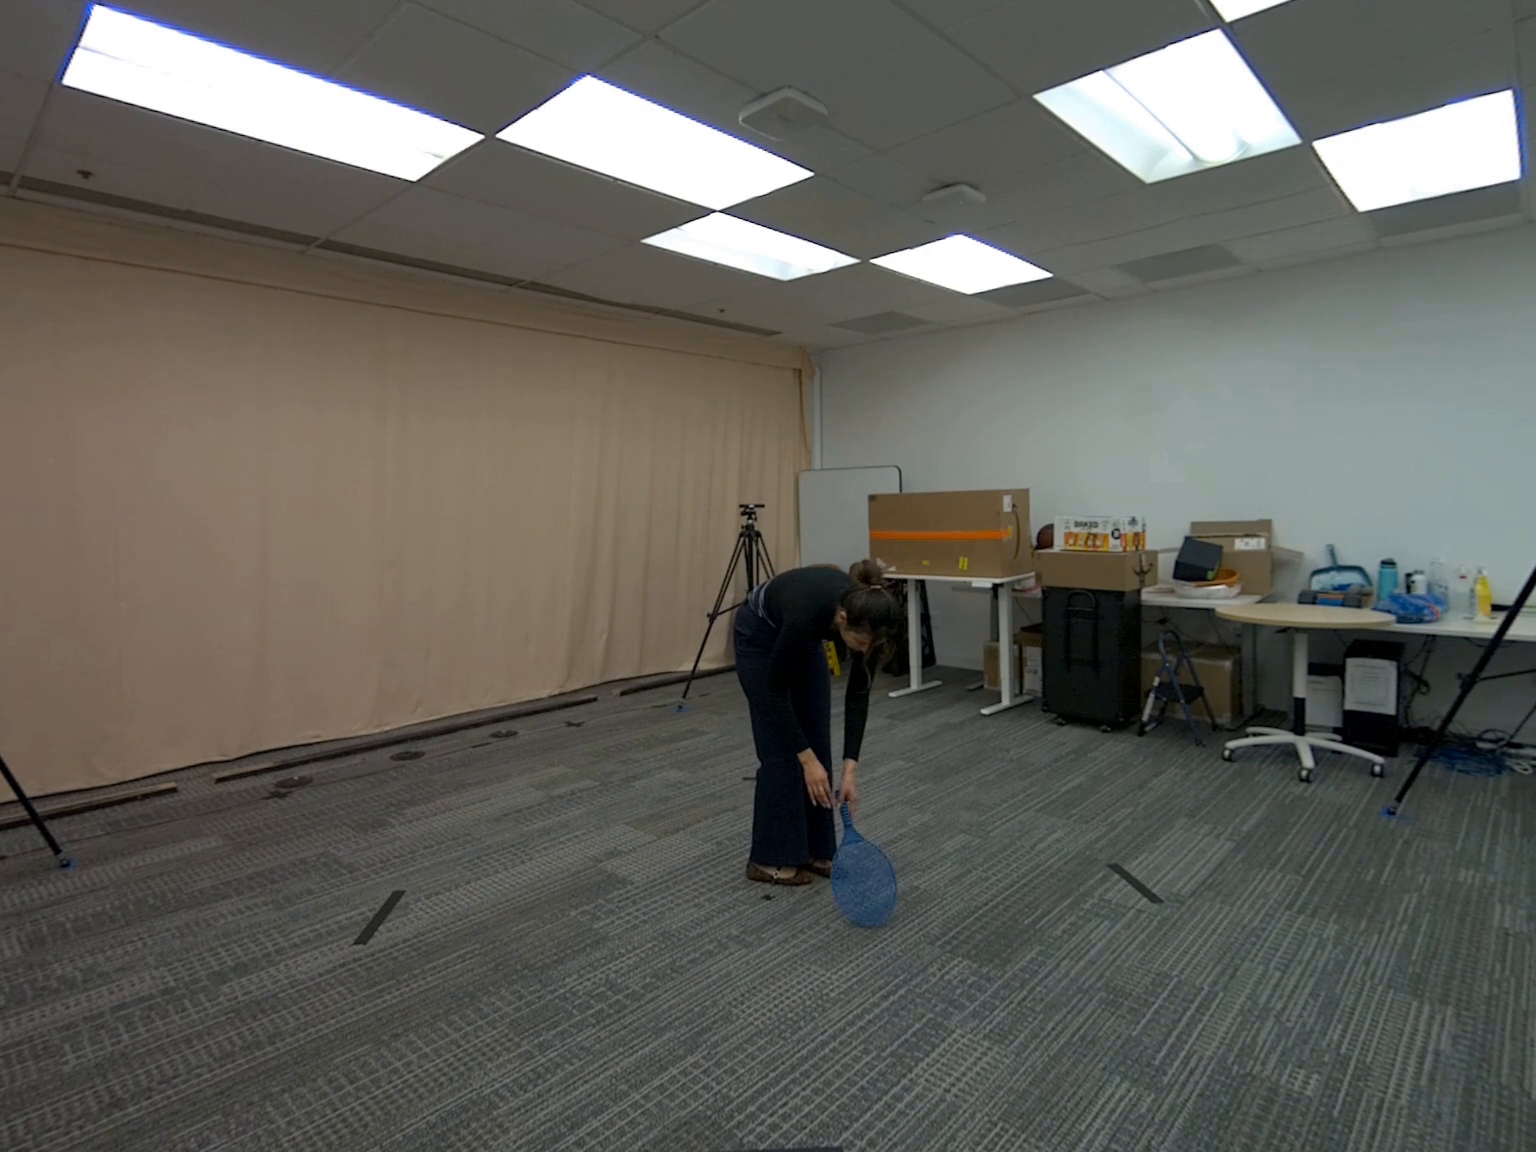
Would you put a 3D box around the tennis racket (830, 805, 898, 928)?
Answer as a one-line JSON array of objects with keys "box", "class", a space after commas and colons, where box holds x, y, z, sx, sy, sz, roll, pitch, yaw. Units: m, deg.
[{"box": [0.295, 0.941, 2.822, 0.214, 0.440, 0.031, -15, -21, 4], "class": "tennis racket"}]
